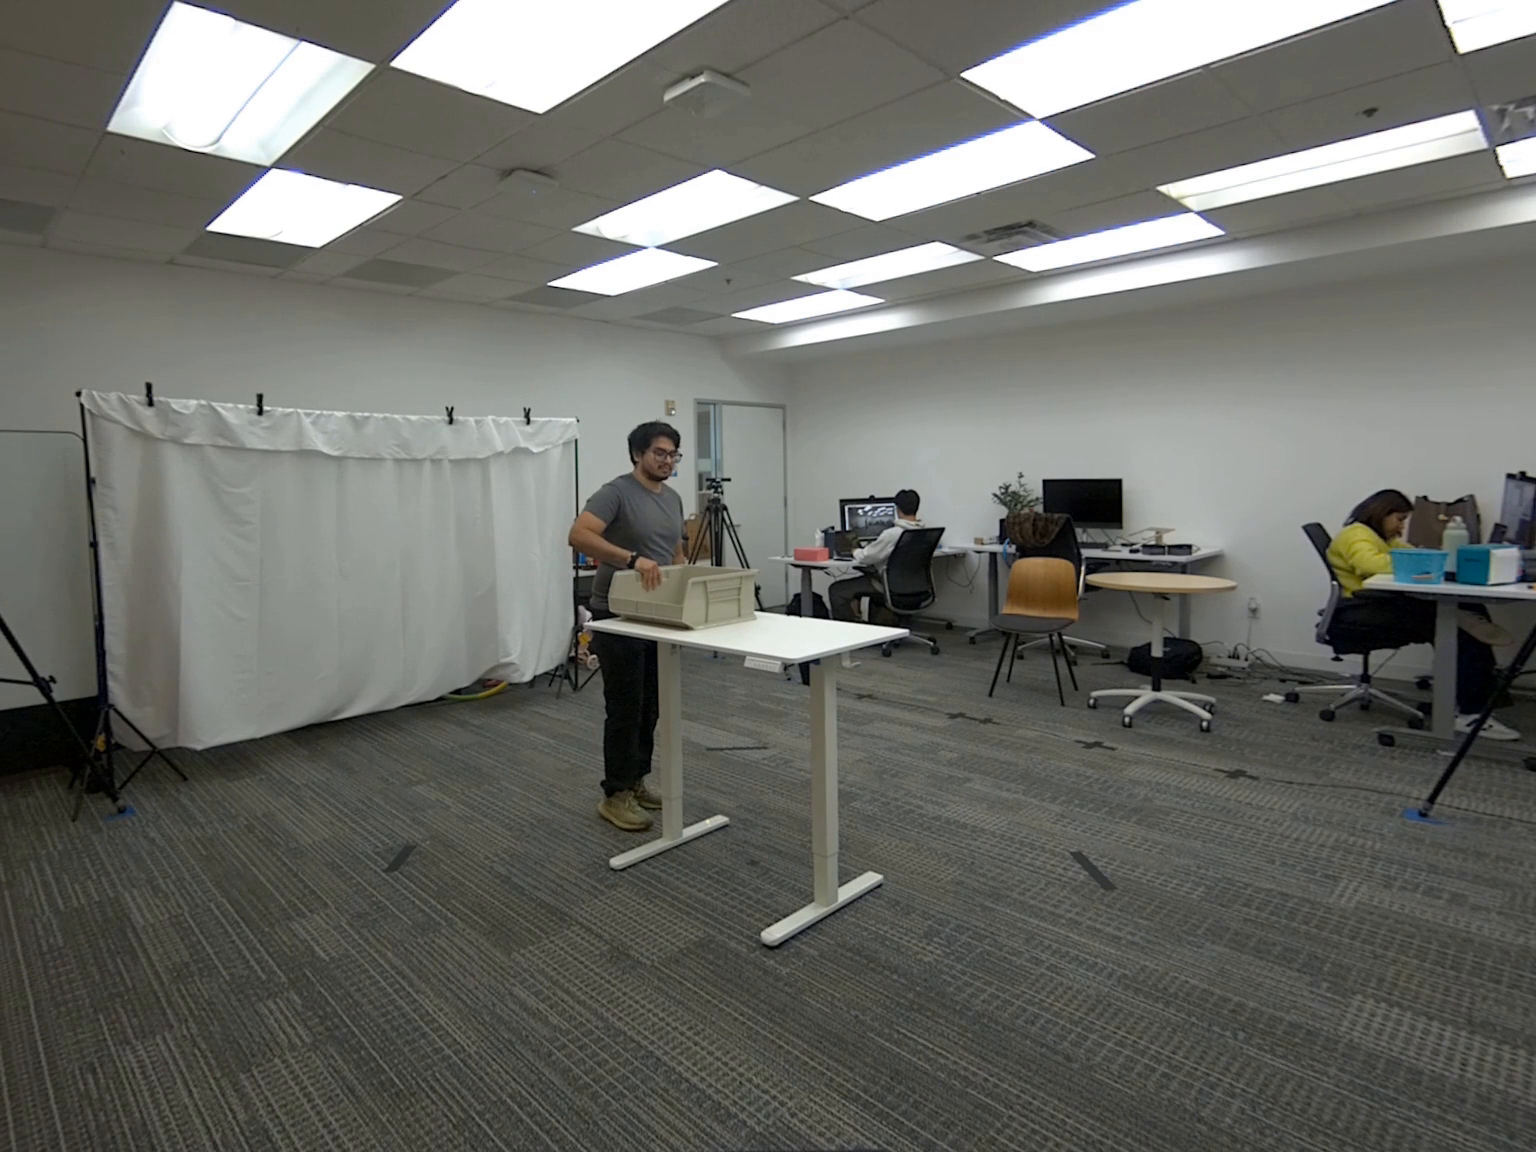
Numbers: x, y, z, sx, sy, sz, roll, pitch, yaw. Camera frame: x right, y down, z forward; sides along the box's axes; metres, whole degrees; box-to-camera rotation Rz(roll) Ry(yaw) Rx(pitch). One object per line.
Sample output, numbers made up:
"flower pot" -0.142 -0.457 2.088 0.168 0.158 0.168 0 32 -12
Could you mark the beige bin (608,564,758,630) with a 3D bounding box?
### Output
"beige bin" -0.312 0.073 3.137 0.435 0.188 0.367 4 6 44
